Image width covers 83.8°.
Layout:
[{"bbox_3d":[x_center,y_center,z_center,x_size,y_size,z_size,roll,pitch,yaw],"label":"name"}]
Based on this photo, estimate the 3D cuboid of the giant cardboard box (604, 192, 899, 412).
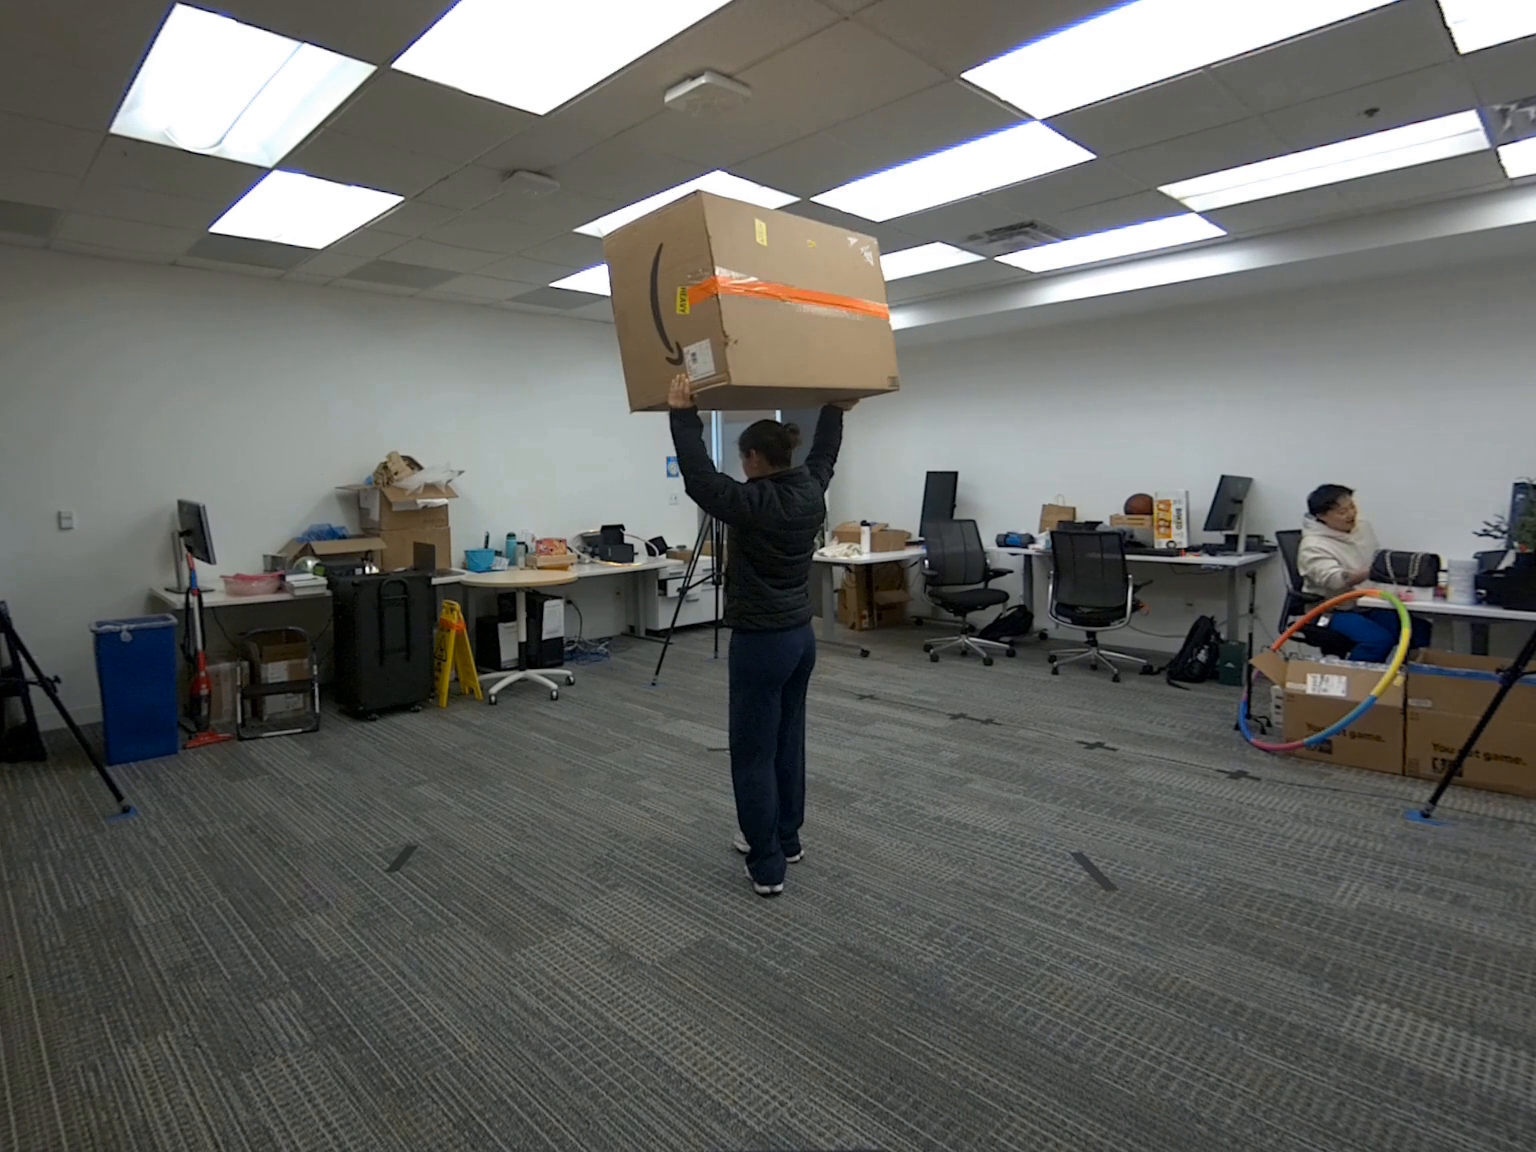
[{"bbox_3d":[-0.019,-0.891,2.978,0.458,0.582,1.004,-5,5,38],"label":"giant cardboard box"}]
